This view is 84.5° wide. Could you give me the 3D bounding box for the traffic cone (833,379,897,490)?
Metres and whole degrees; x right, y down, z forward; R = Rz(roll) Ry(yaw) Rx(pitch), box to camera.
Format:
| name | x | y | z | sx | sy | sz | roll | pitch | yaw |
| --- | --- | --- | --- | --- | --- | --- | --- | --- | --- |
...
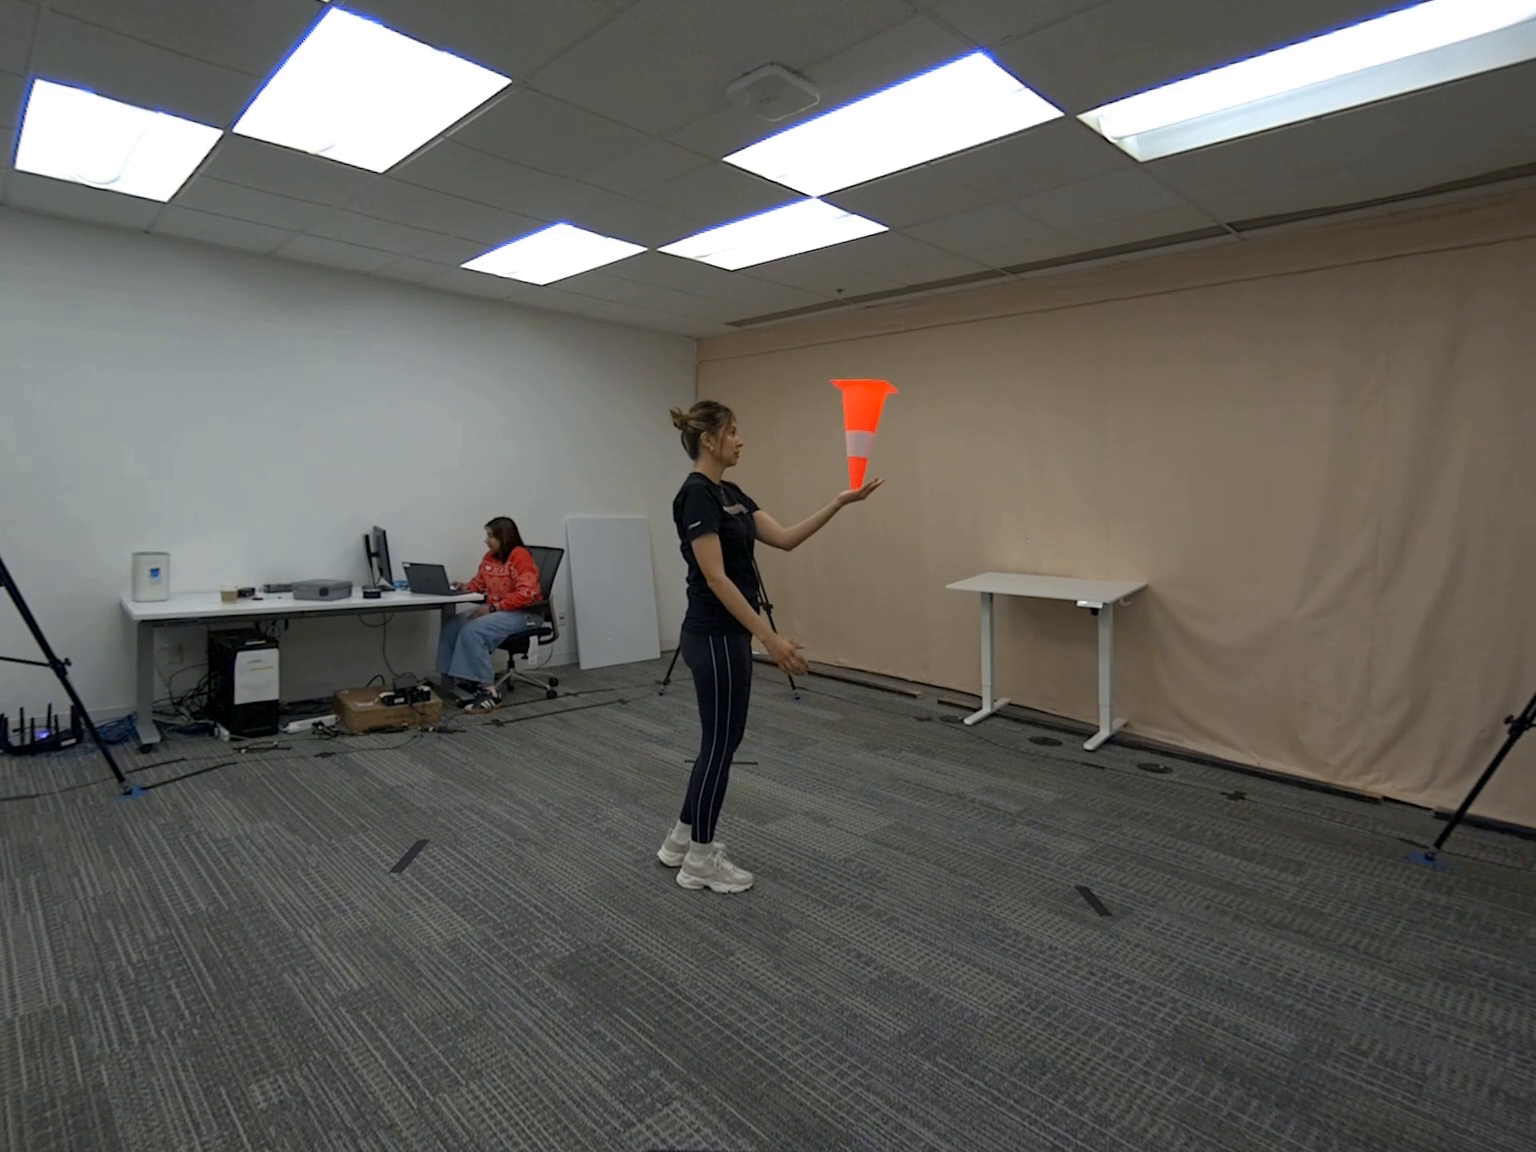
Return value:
| name | x | y | z | sx | sy | sz | roll | pitch | yaw |
| --- | --- | --- | --- | --- | --- | --- | --- | --- | --- |
| traffic cone | 0.318 | -0.479 | 2.954 | 0.209 | 0.384 | 0.199 | 1 | -2 | 27 |
